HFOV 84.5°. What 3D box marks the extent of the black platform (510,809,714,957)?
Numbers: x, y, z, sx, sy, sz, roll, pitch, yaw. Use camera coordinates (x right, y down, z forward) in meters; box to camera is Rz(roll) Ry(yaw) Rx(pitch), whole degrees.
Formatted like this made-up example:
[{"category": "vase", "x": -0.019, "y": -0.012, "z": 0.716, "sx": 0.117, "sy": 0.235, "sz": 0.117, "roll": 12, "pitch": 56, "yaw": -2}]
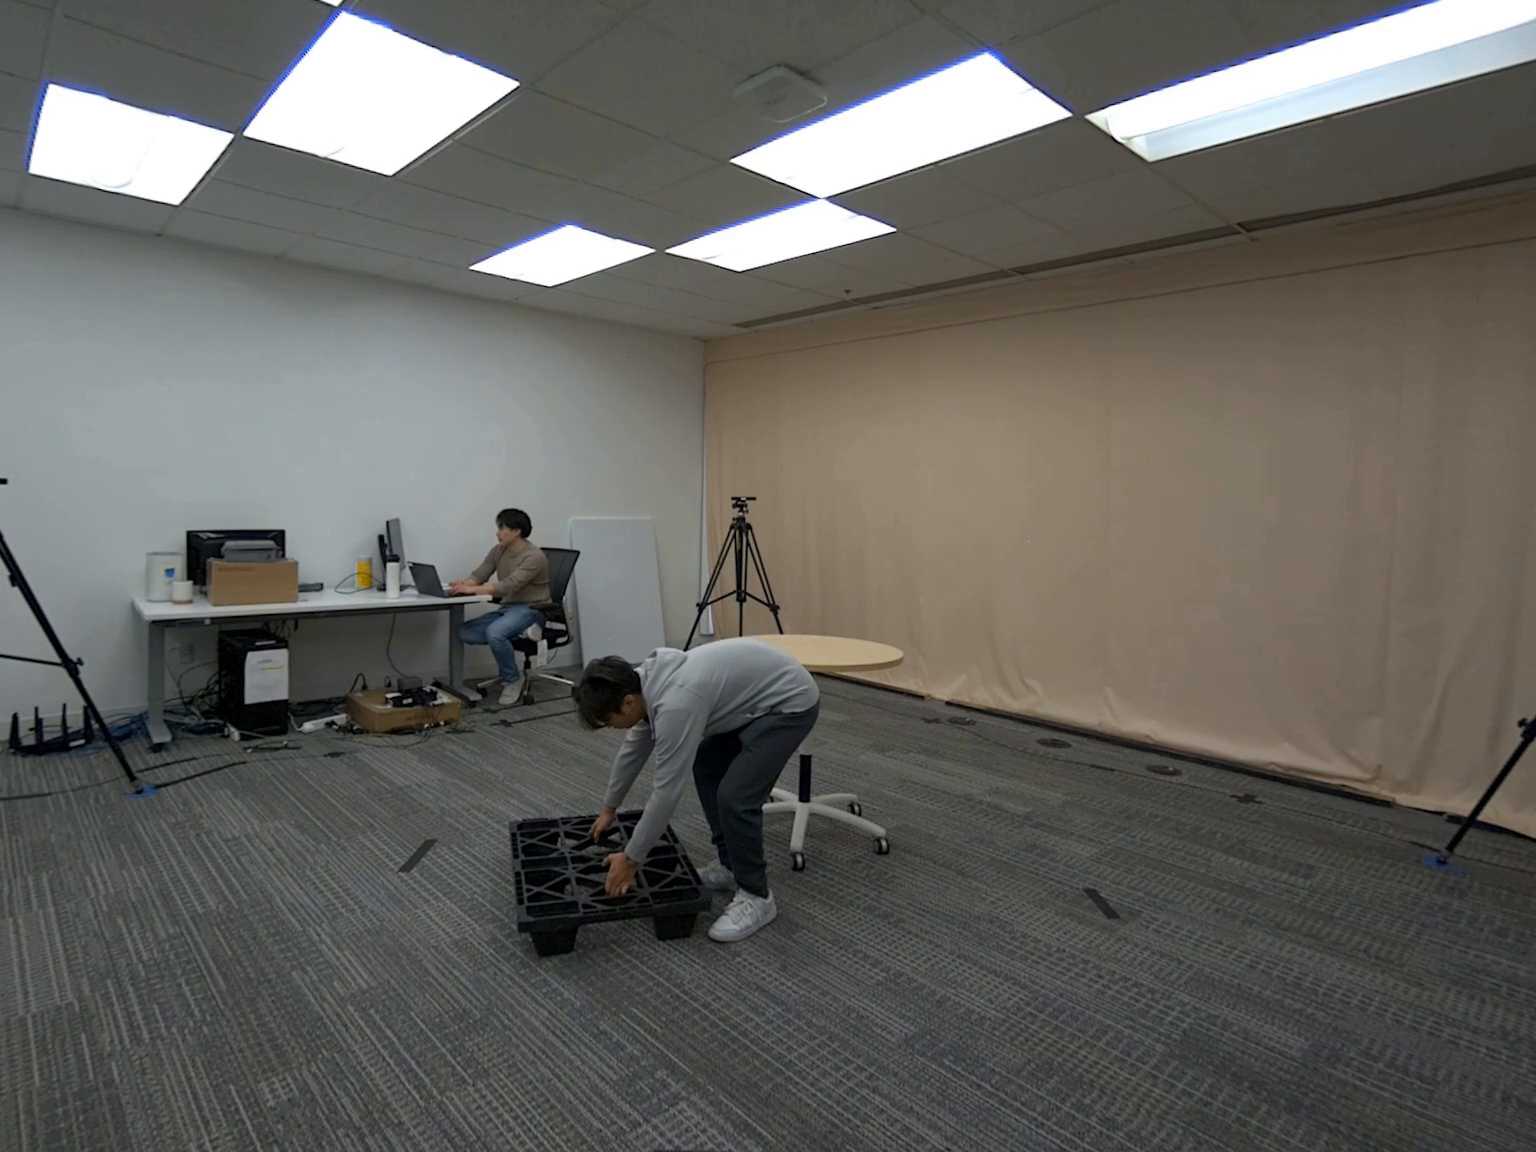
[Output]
[{"category": "black platform", "x": -0.590, "y": 1.045, "z": 2.946, "sx": 0.597, "sy": 0.143, "sz": 0.819, "roll": 0, "pitch": 6, "yaw": -18}]
